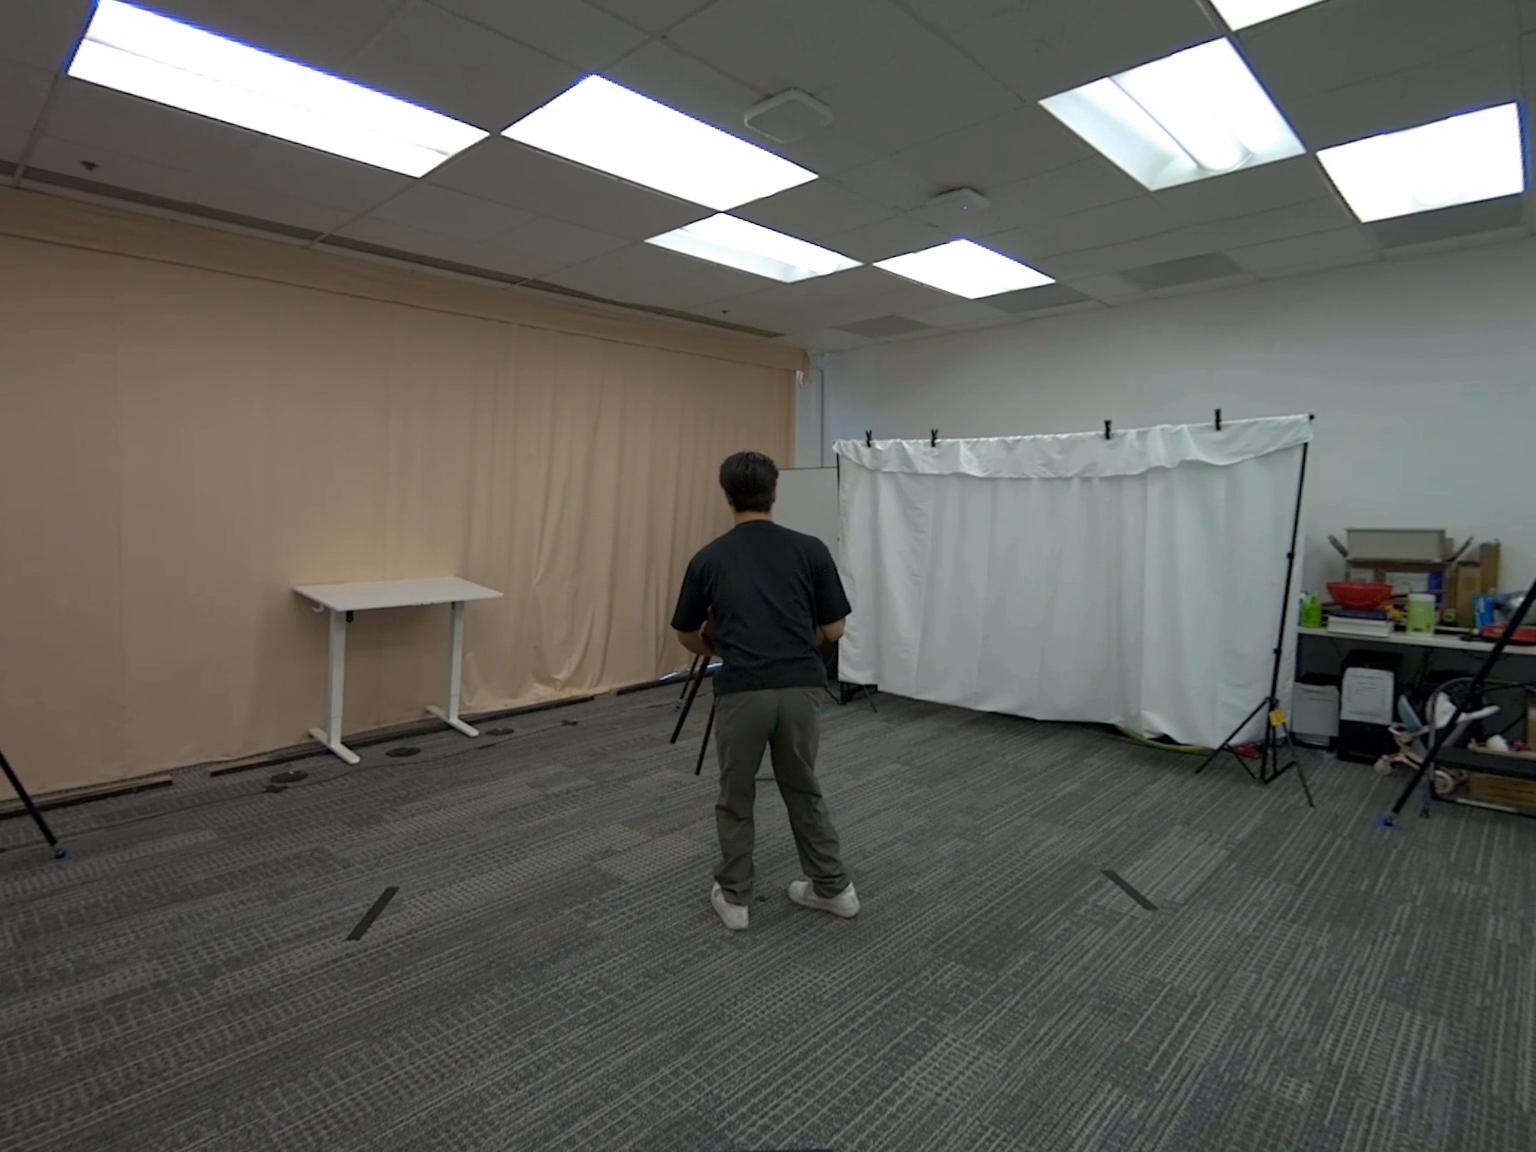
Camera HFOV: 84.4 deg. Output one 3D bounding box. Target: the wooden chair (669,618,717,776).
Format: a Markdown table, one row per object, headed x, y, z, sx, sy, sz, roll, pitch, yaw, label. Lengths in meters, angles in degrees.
| x | y | z | sx | sy | sz | roll | pitch | yaw | label |
| --- | --- | --- | --- | --- | --- | --- | --- | --- | --- |
| -0.077 | 0.286 | 3.221 | 0.470 | 0.875 | 0.534 | 6 | 4 | -17 | wooden chair |
